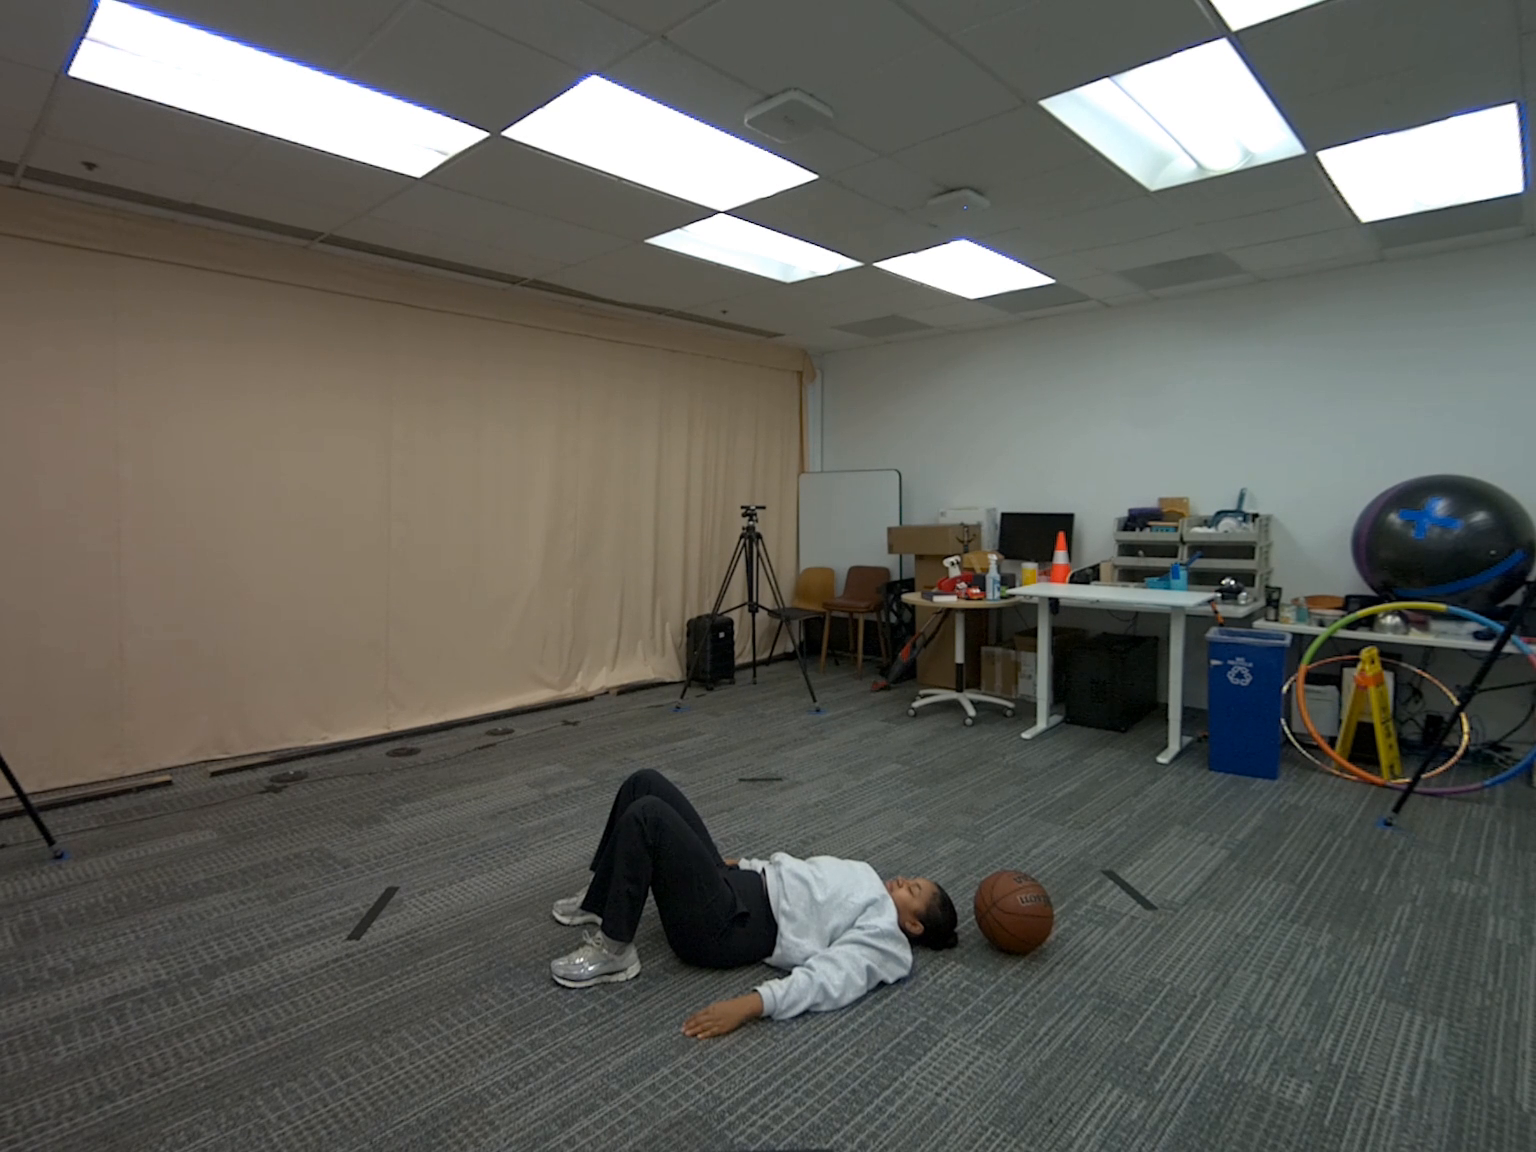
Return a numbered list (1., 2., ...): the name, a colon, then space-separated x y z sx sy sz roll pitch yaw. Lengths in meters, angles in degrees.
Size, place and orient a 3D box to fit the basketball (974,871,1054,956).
1. basketball: 0.780 1.058 2.641 0.236 0.235 0.237 0 4 -2
